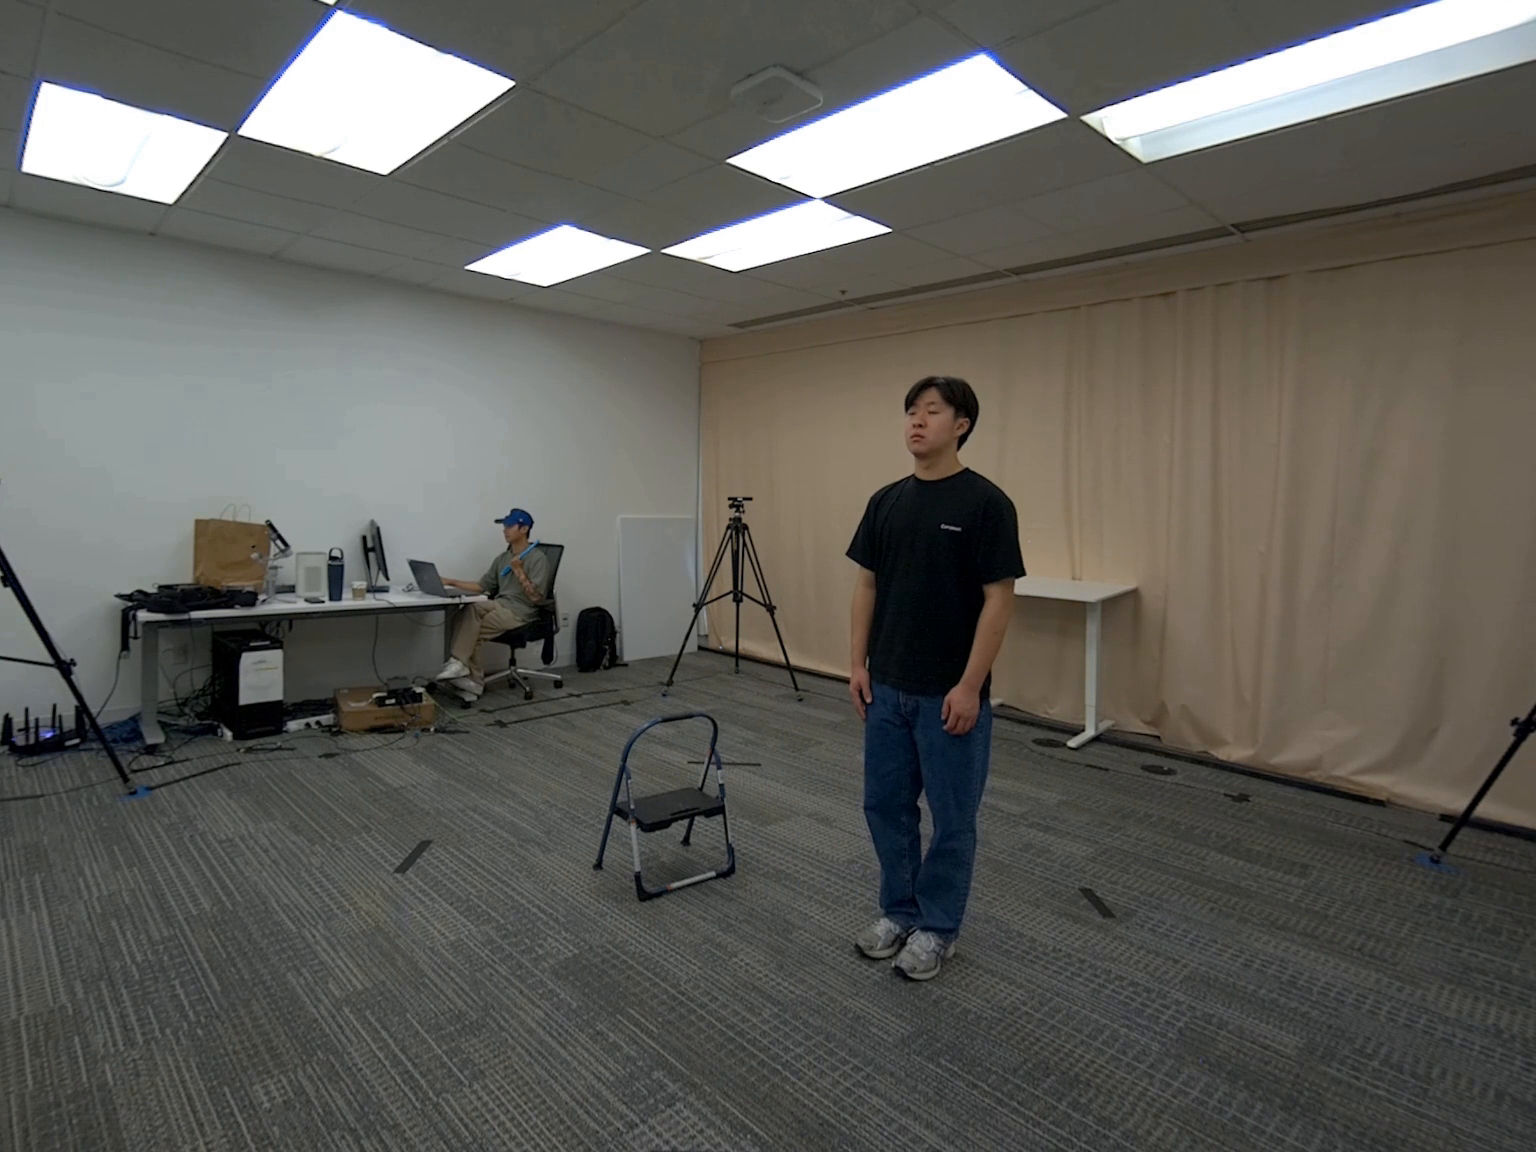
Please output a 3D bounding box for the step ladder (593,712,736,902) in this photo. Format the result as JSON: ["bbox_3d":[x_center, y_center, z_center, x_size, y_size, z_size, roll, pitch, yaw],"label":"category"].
[{"bbox_3d":[-0.385,0.794,3.124,0.421,0.604,0.358,-2,5,-39],"label":"step ladder"}]
